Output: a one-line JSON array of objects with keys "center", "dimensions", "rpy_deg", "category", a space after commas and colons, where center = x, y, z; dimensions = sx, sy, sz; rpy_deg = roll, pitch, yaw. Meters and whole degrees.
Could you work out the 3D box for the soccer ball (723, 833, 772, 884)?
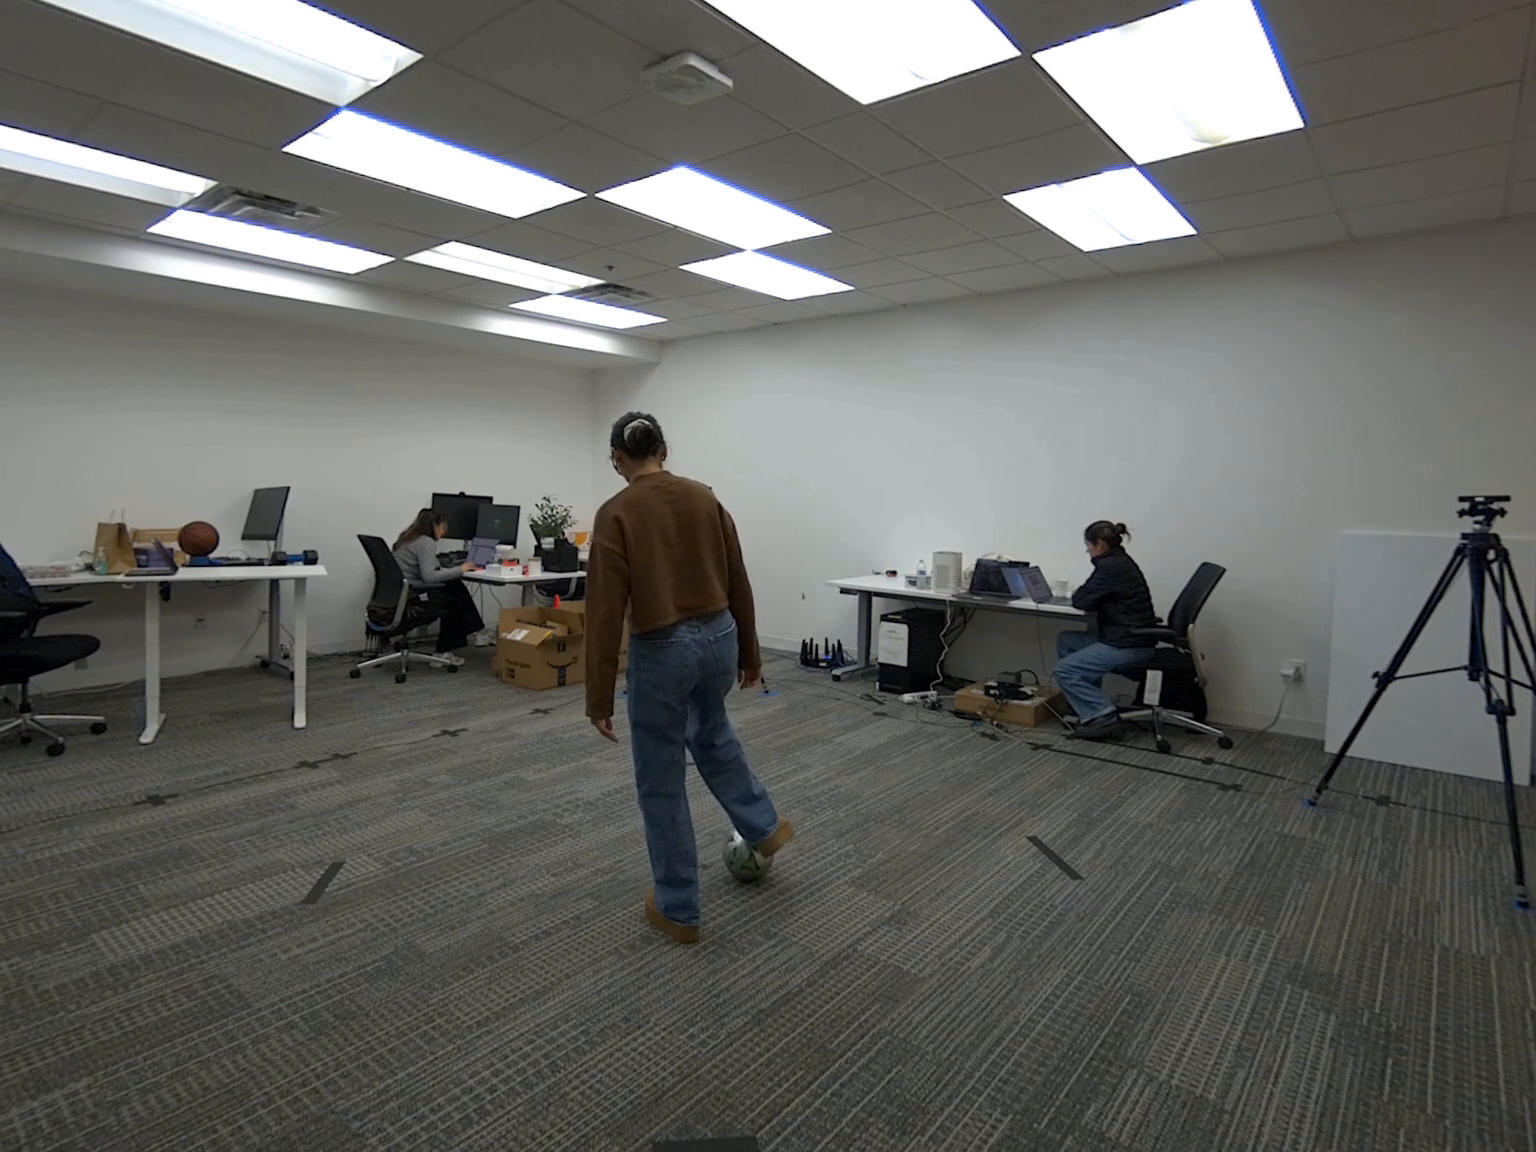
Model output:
[{"center": [-0.087, 0.976, 3.042], "dimensions": [0.187, 0.187, 0.188], "rpy_deg": [1, 4, -2], "category": "soccer ball"}]
